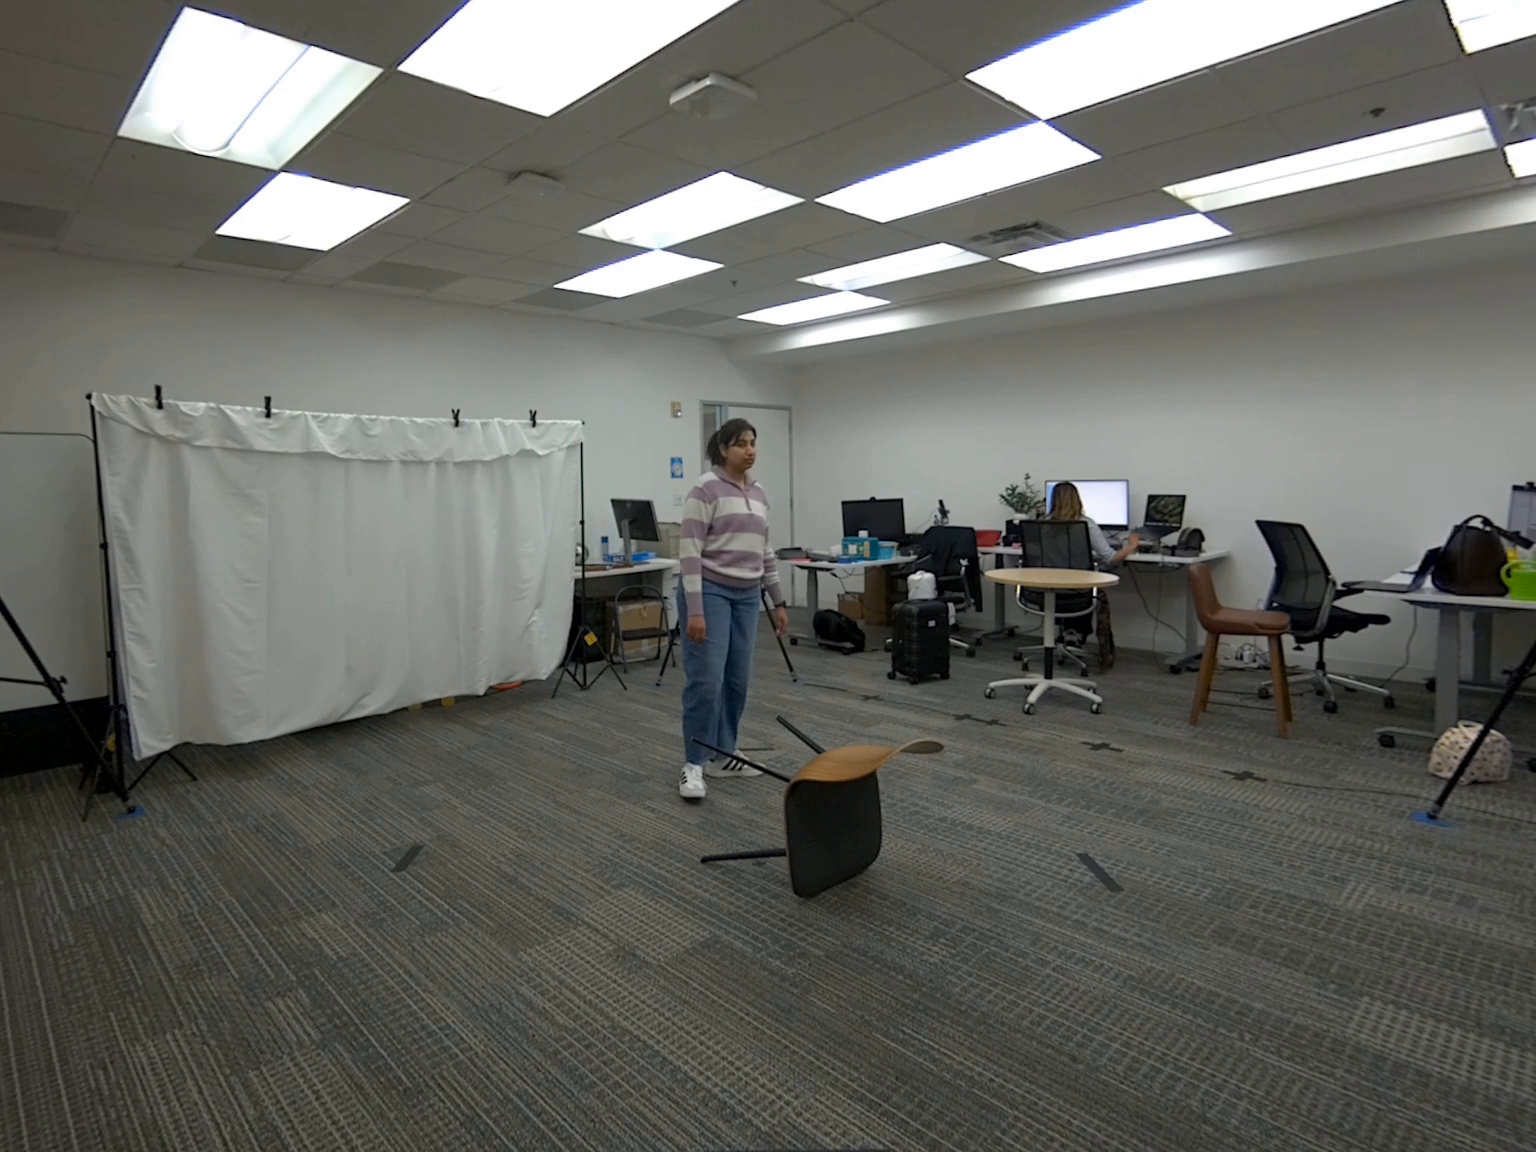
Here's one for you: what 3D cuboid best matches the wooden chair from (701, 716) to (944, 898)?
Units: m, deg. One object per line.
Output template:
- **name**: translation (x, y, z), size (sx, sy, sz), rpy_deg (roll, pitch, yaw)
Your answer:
- **wooden chair**: translation (0.198, 0.804, 2.952), size (0.465, 0.525, 0.899), rpy_deg (-4, -3, -42)
